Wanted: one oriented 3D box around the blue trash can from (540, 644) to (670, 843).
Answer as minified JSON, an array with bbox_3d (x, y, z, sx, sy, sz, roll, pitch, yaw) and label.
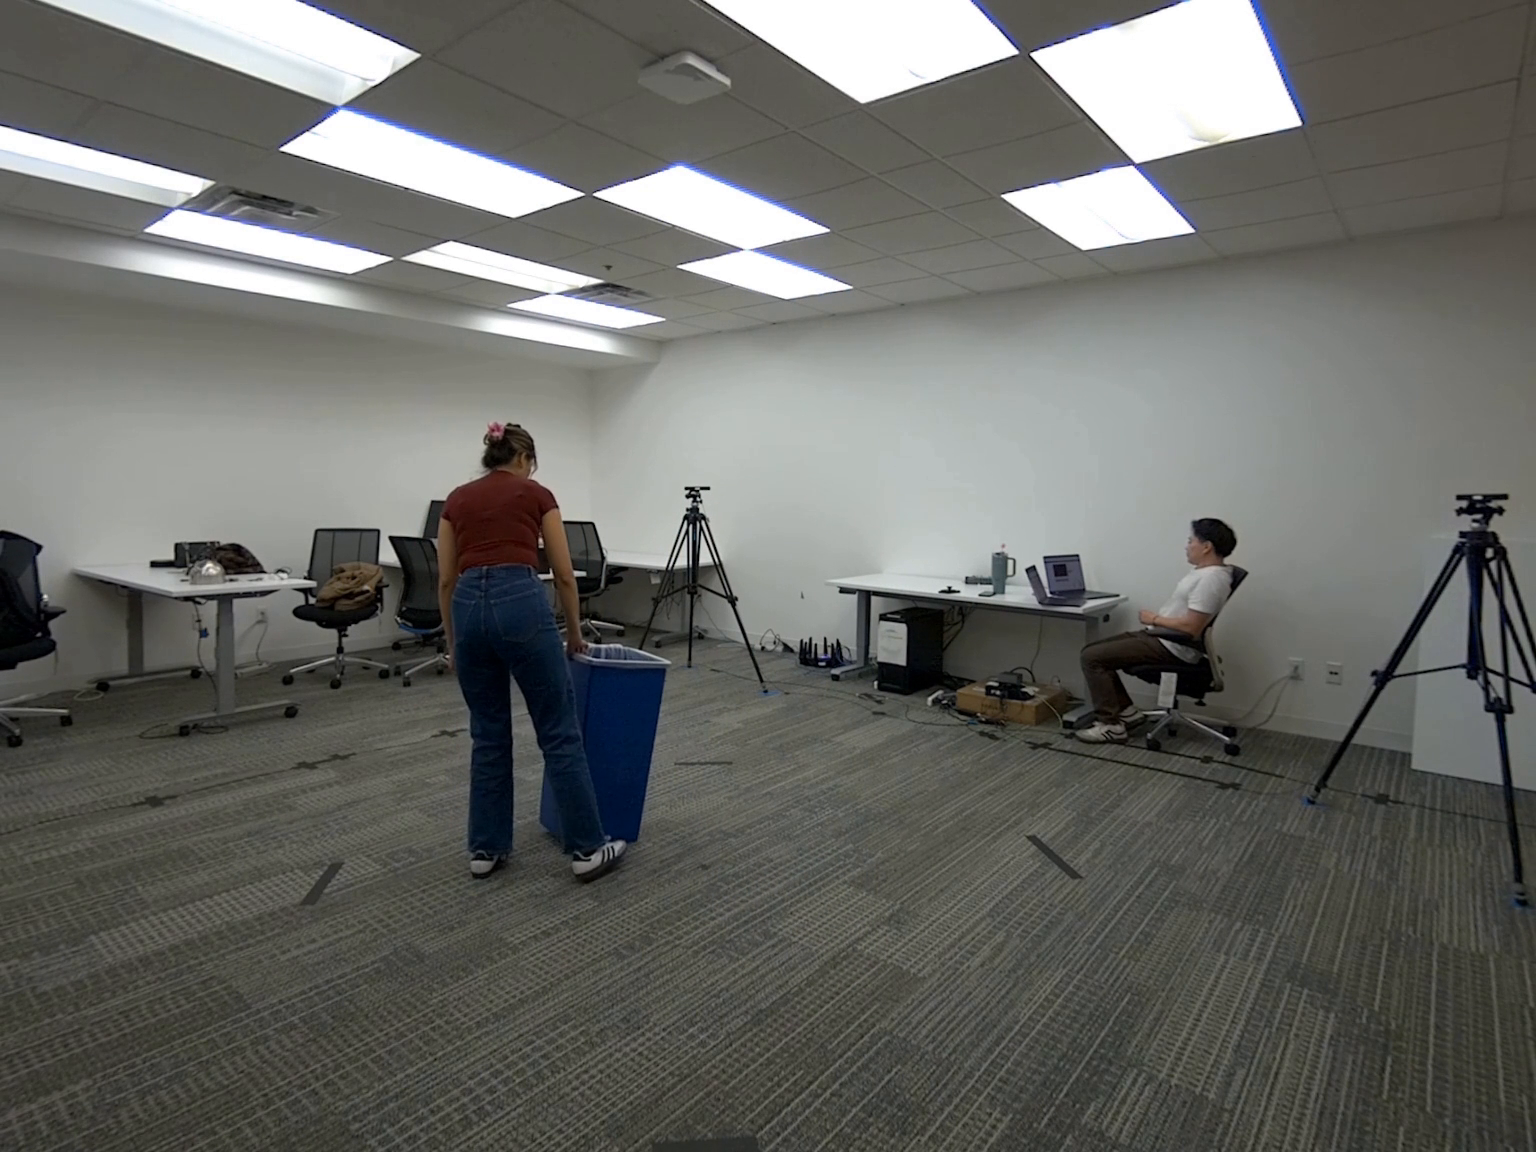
[{"bbox_3d":[-0.674,0.657,3.392,0.365,0.714,0.386,7,-1,-38],"label":"blue trash can"}]
